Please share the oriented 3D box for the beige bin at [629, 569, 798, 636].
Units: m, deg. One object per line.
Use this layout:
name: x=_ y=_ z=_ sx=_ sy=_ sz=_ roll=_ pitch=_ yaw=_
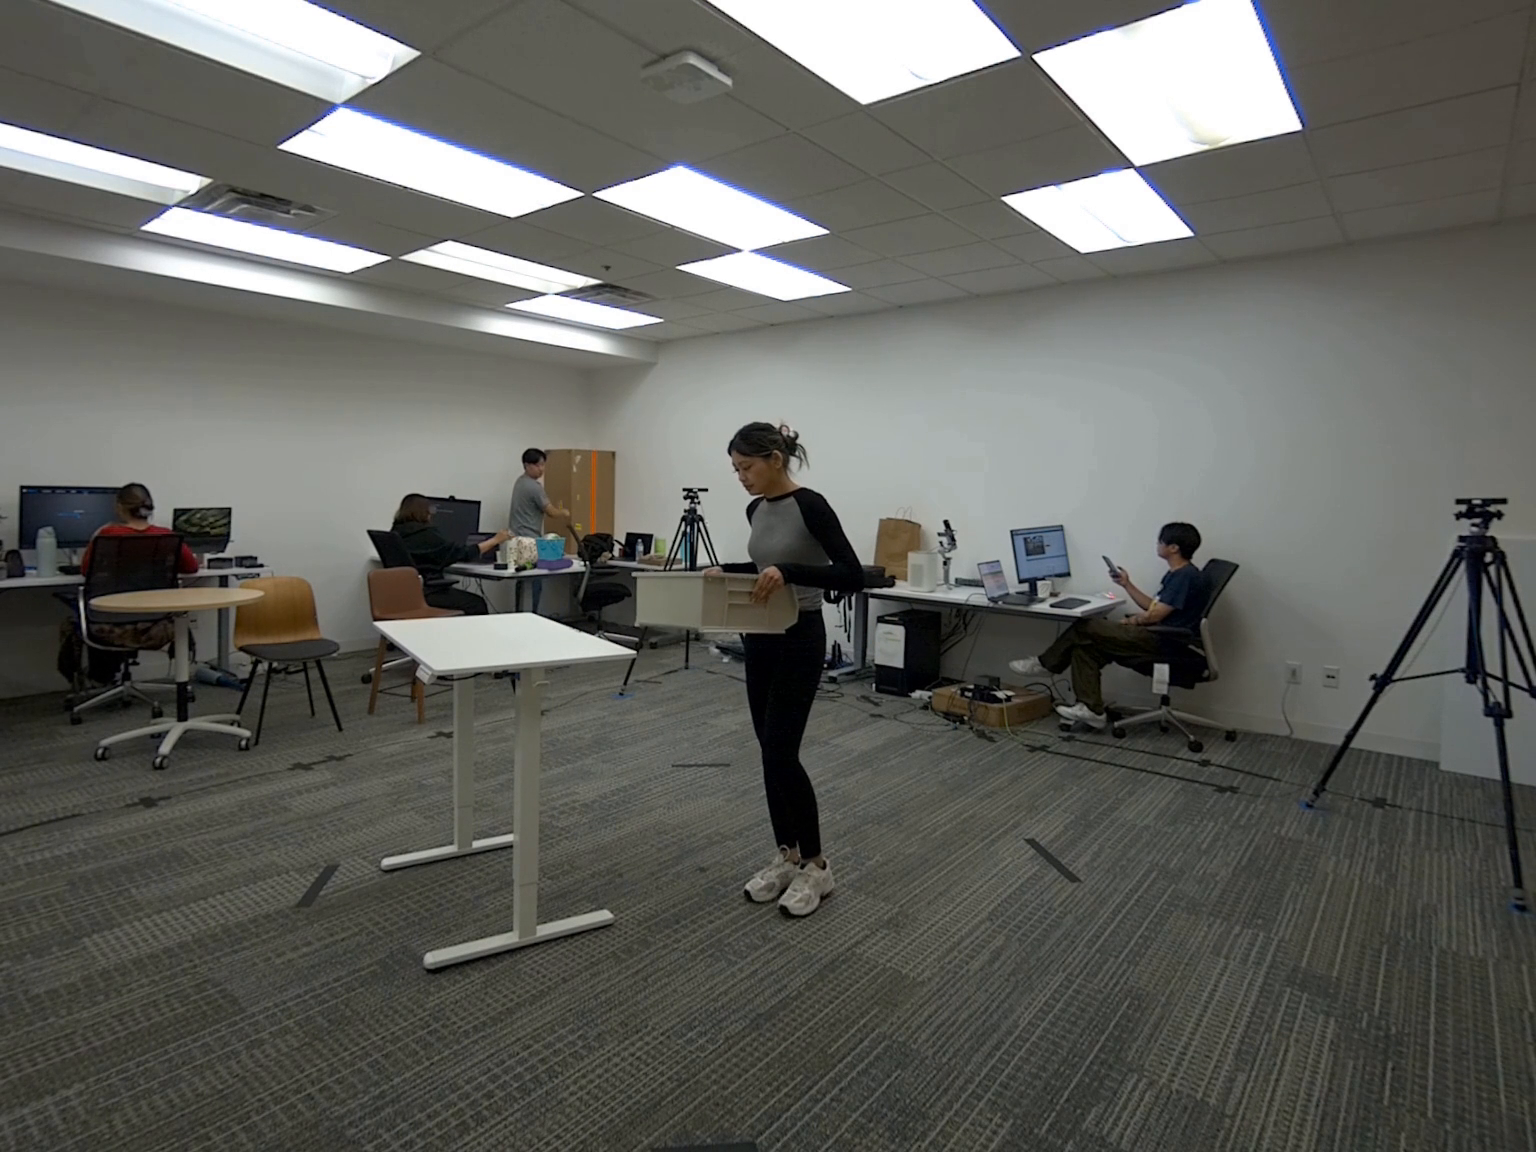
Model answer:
beige bin: x=-0.185 y=0.077 z=2.770 sx=0.365 sy=0.189 sz=0.435 roll=1 pitch=0 yaw=-38
